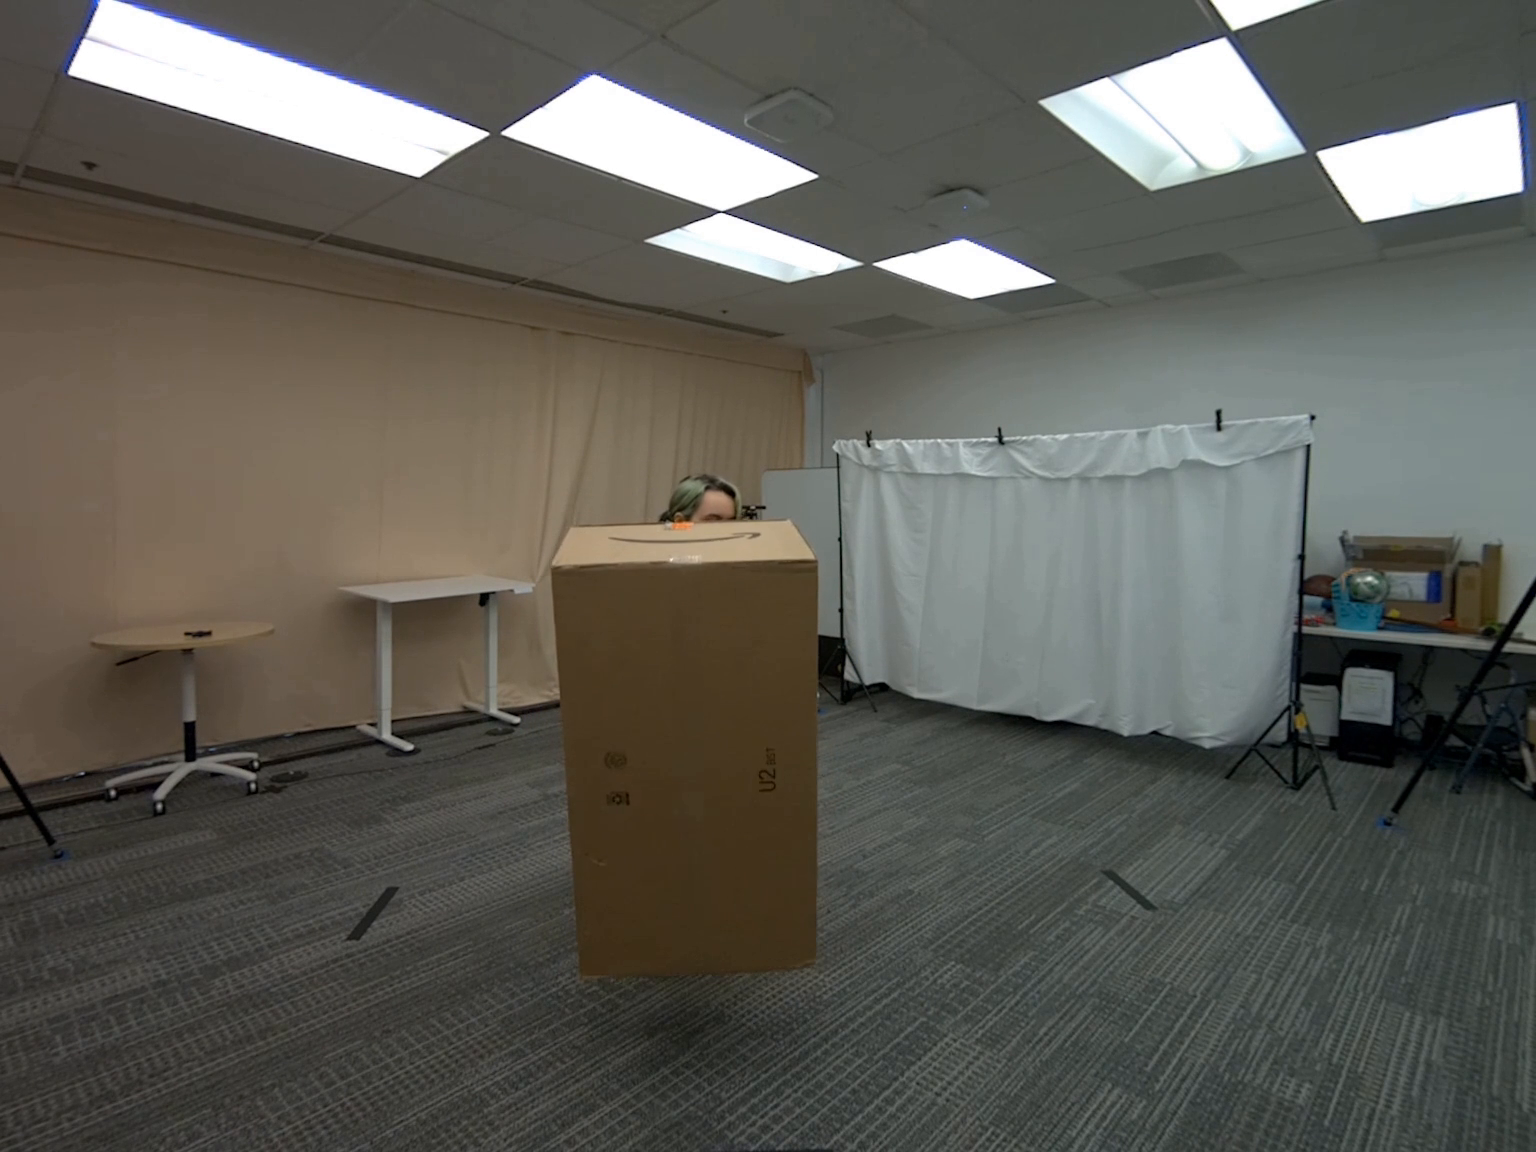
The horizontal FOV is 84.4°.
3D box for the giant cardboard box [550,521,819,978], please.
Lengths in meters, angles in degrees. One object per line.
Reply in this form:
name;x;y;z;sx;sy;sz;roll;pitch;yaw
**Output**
giant cardboard box;-0.195;0.408;2.104;0.582;1.018;0.452;-2;13;-4
